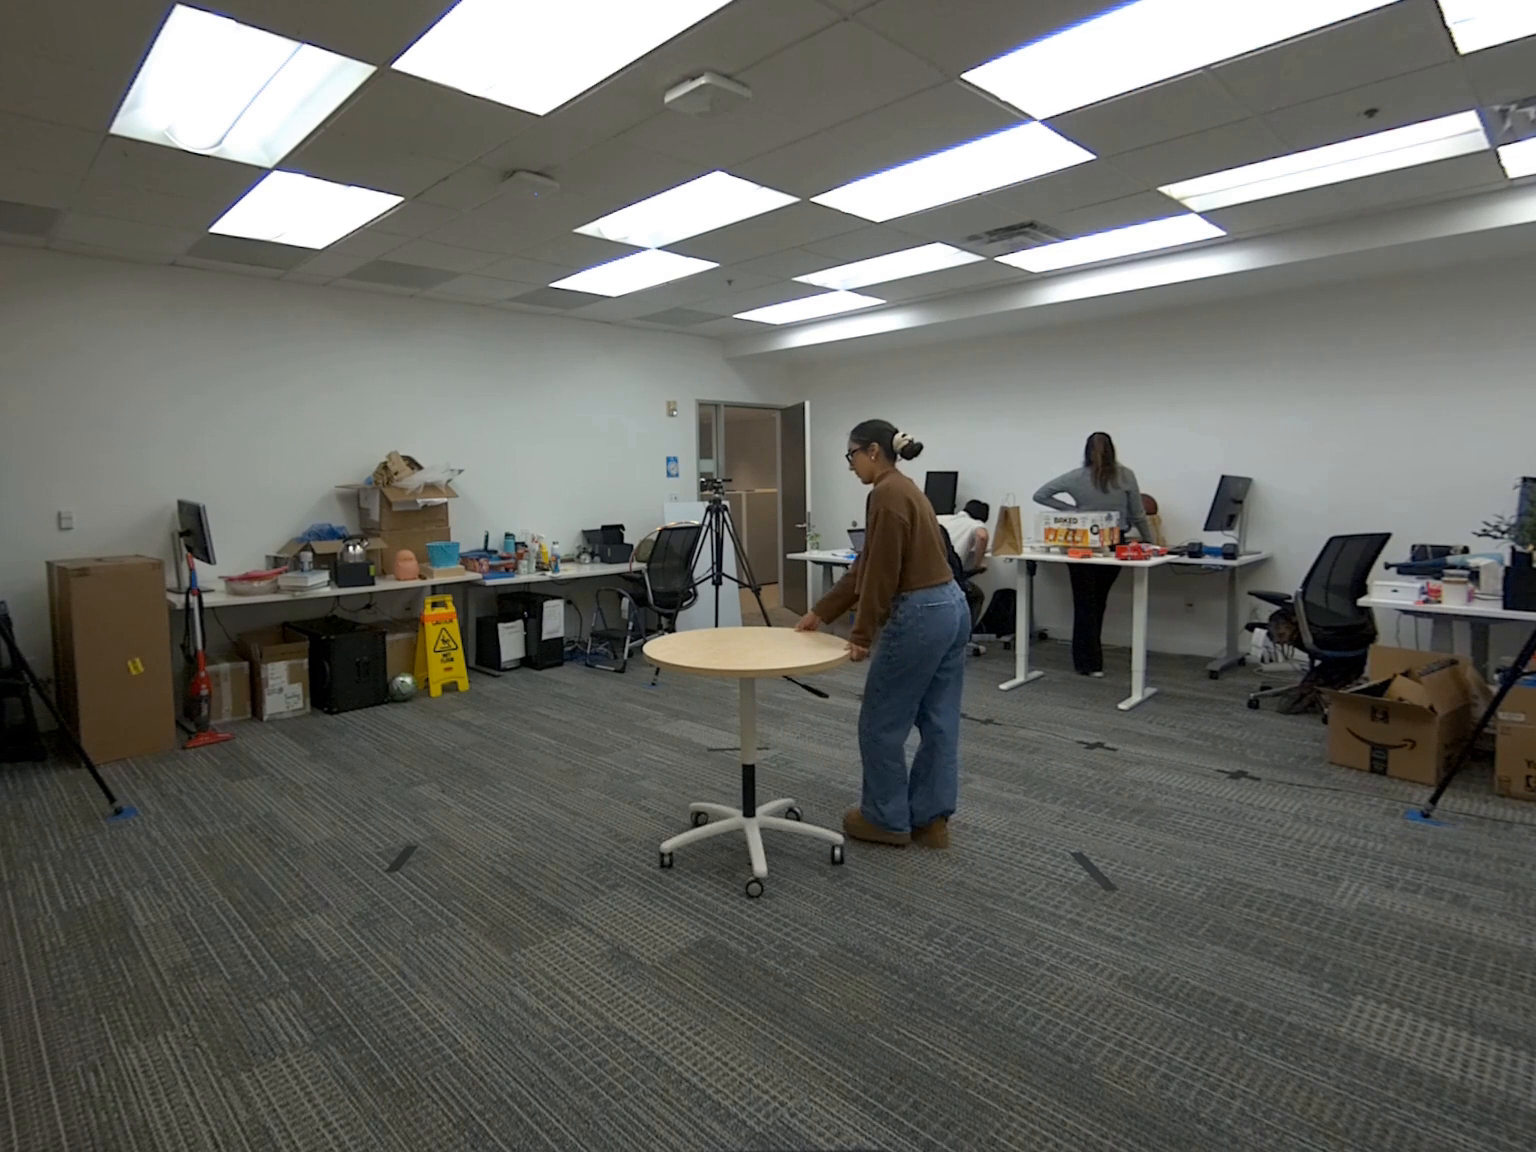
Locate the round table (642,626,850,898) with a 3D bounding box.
[{"bbox_3d":[-0.057,0.643,3.166,0.784,0.783,0.789,-1,5,-2],"label":"round table"}]
